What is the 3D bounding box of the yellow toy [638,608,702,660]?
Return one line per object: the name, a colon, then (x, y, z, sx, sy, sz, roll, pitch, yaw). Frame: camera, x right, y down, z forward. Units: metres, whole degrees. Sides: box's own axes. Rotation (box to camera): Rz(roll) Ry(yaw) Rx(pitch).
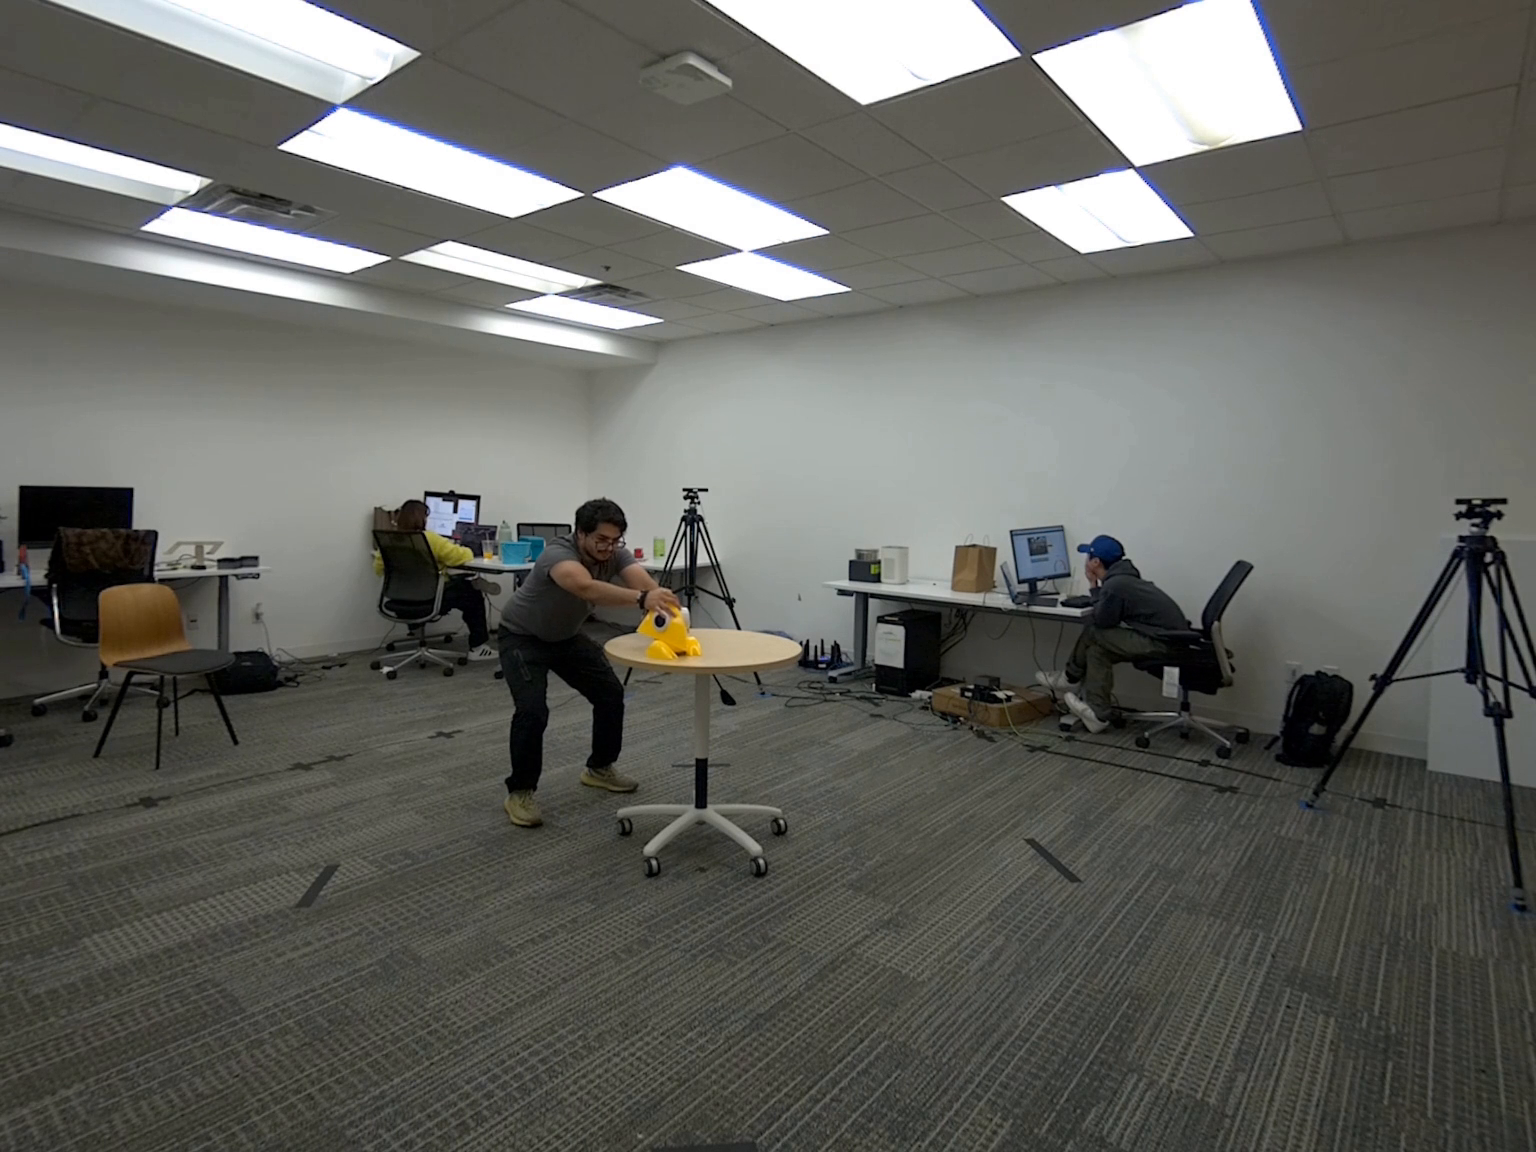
yellow toy: (-0.362, 0.175, 3.150, 0.199, 0.230, 0.199, -2, 4, -37)
